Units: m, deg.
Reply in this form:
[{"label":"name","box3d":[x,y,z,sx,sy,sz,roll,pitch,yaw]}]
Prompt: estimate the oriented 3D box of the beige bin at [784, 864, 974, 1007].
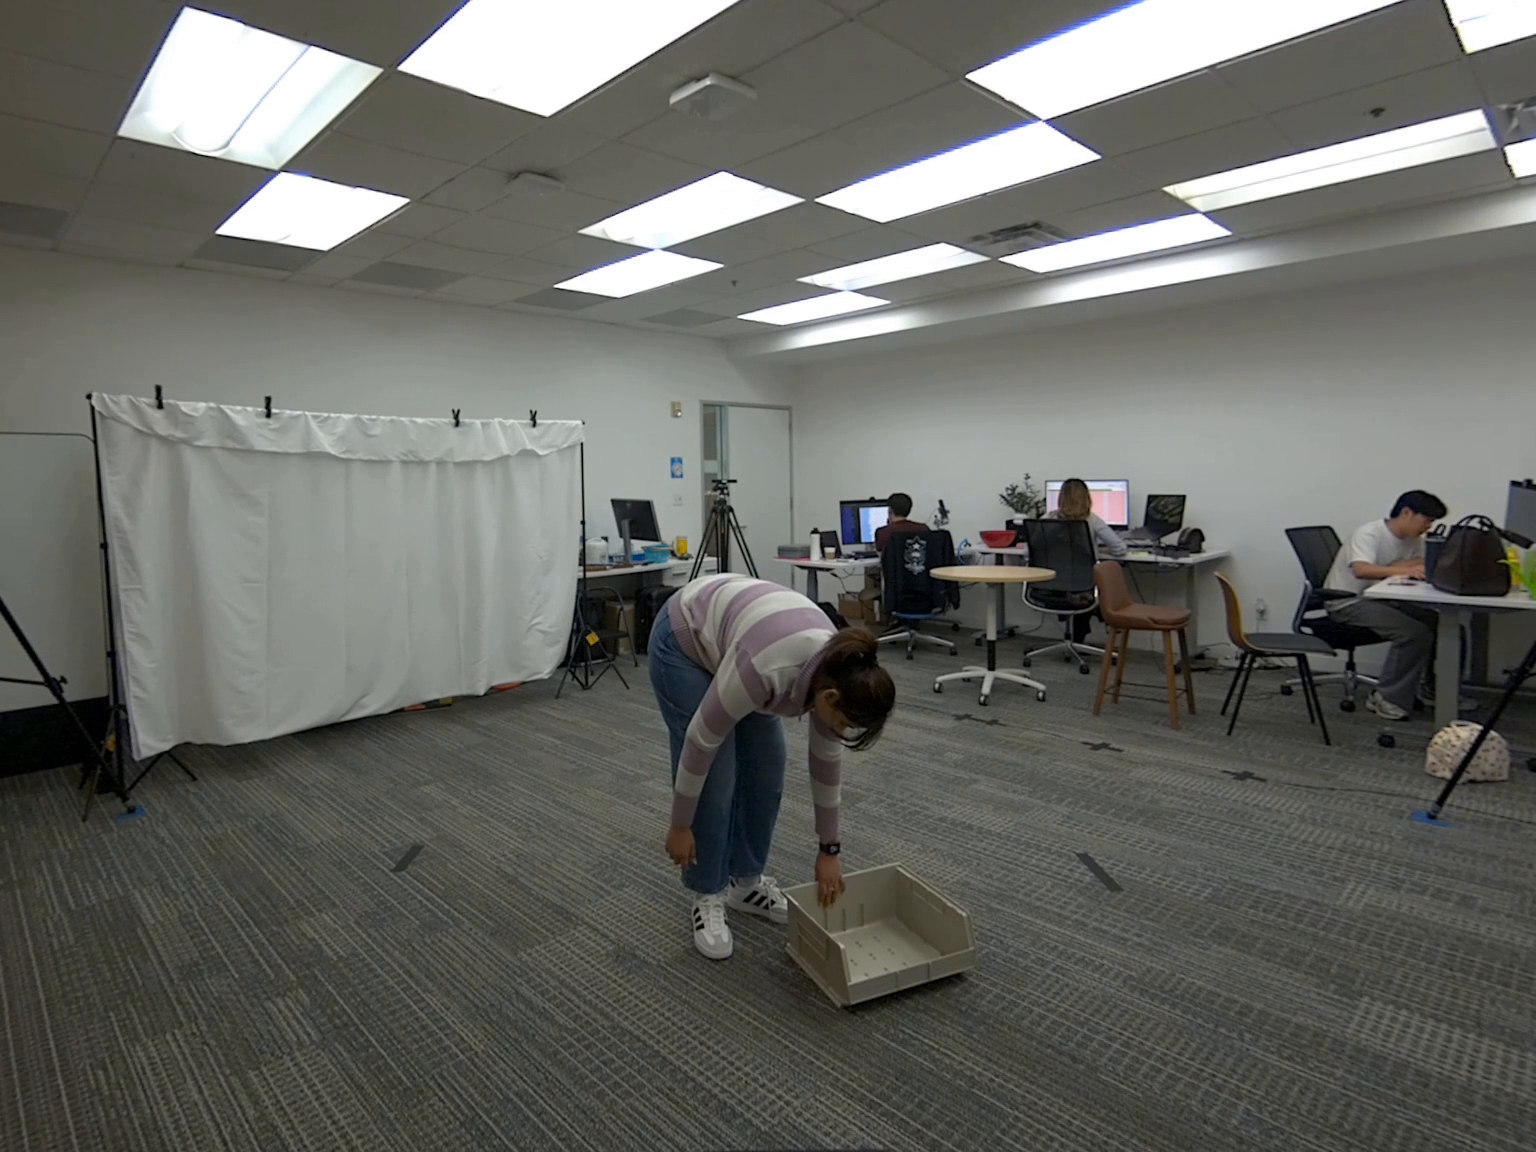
[{"label":"beige bin","box3d":[0.314,1.025,2.451,0.414,0.188,0.386,-4,5,-25]}]
